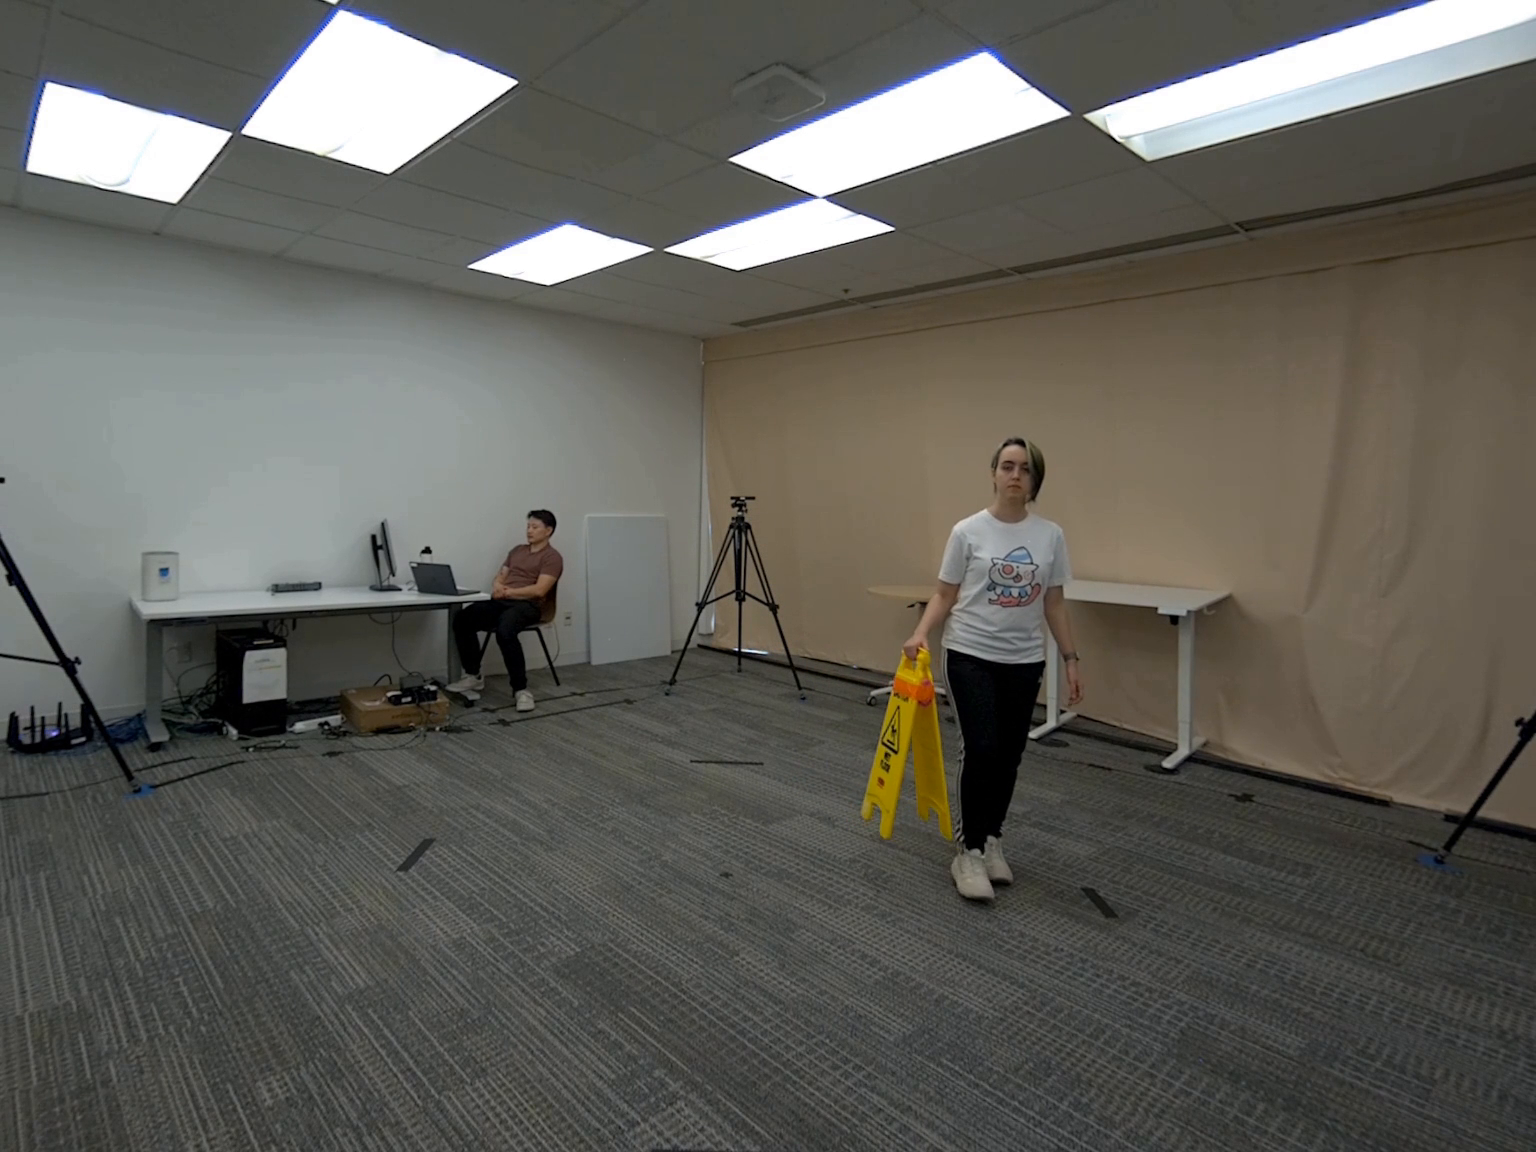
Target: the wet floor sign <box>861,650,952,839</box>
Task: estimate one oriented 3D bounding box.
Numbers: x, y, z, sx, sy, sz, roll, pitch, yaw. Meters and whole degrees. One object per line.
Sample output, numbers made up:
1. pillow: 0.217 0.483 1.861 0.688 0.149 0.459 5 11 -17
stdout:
1. wet floor sign: 0.513 0.590 3.031 0.287 0.647 0.284 3 -1 -11
